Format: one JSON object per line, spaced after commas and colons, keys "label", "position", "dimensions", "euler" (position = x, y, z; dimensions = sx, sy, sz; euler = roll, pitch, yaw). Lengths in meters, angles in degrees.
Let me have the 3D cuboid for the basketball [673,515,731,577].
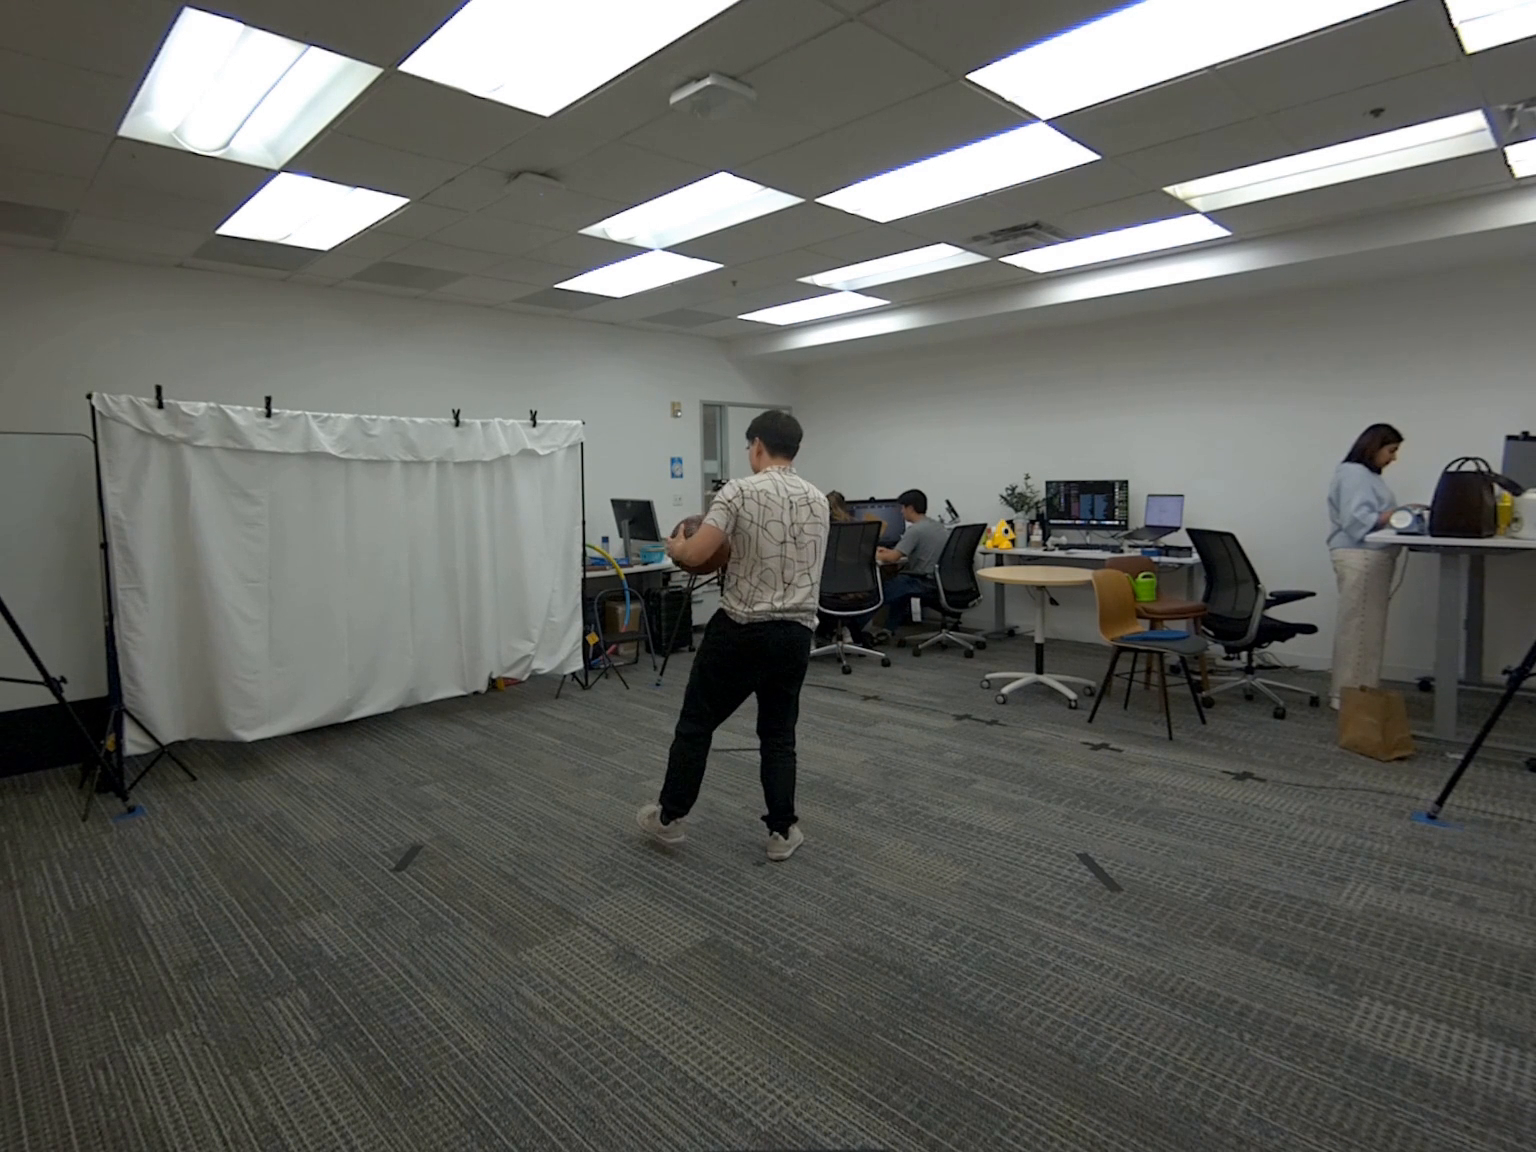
{"label": "basketball", "position": [-0.268, -0.105, 3.370], "dimensions": [0.236, 0.235, 0.237], "euler": [-1, 5, -2]}
